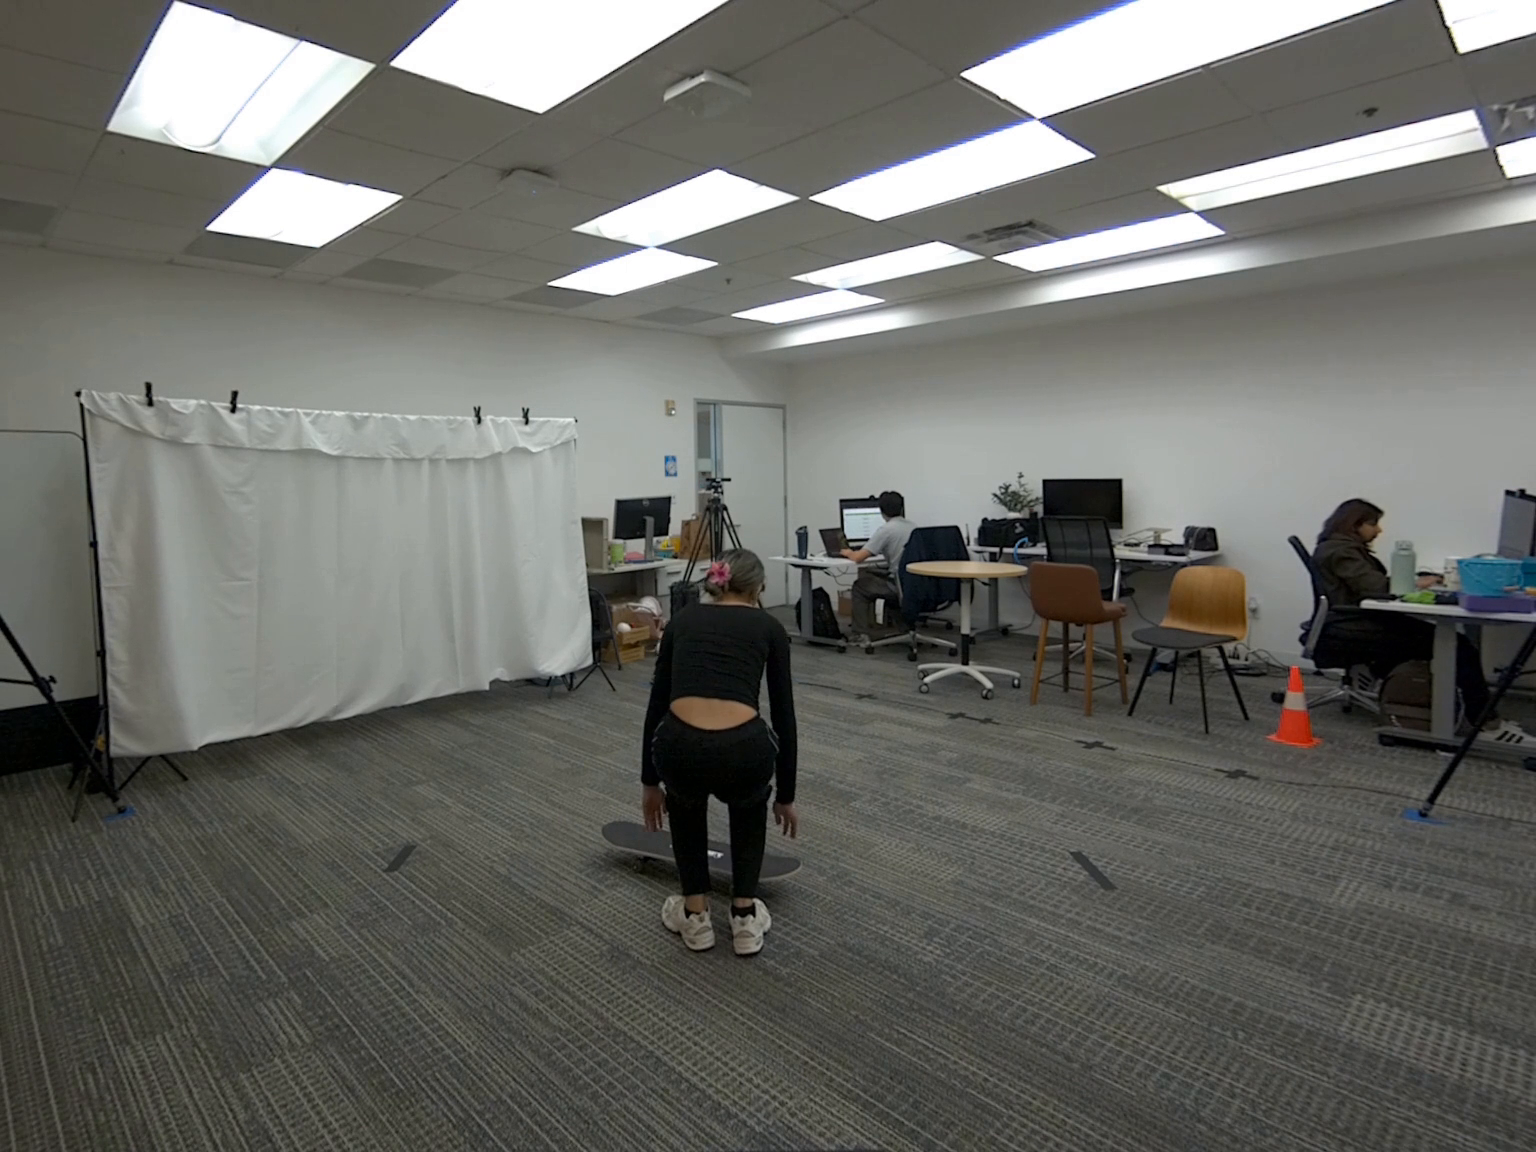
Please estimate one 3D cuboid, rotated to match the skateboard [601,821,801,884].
[{"bbox_3d":[-0.246,0.998,3.011,0.805,0.110,0.190,2,7,27],"label":"skateboard"}]
